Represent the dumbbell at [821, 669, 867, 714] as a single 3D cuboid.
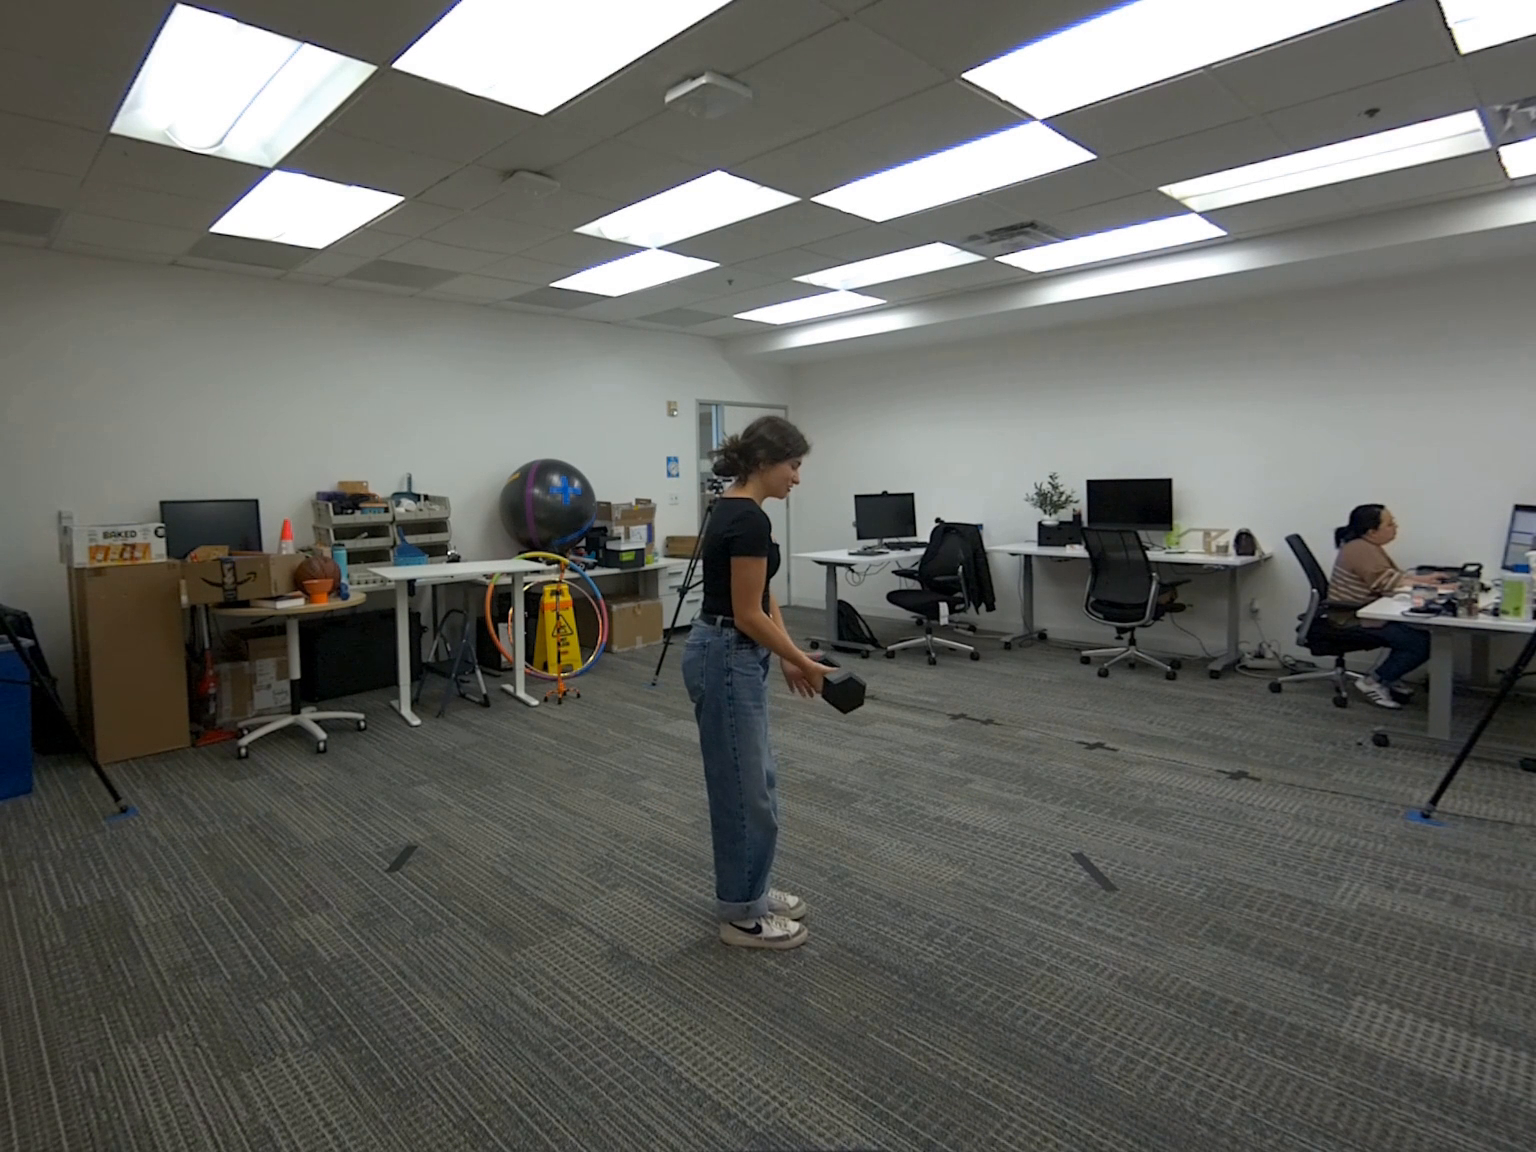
[{"bbox_3d":[0.184,0.300,2.484,0.120,0.109,0.299,38,-4,-18],"label":"dumbbell"}]
